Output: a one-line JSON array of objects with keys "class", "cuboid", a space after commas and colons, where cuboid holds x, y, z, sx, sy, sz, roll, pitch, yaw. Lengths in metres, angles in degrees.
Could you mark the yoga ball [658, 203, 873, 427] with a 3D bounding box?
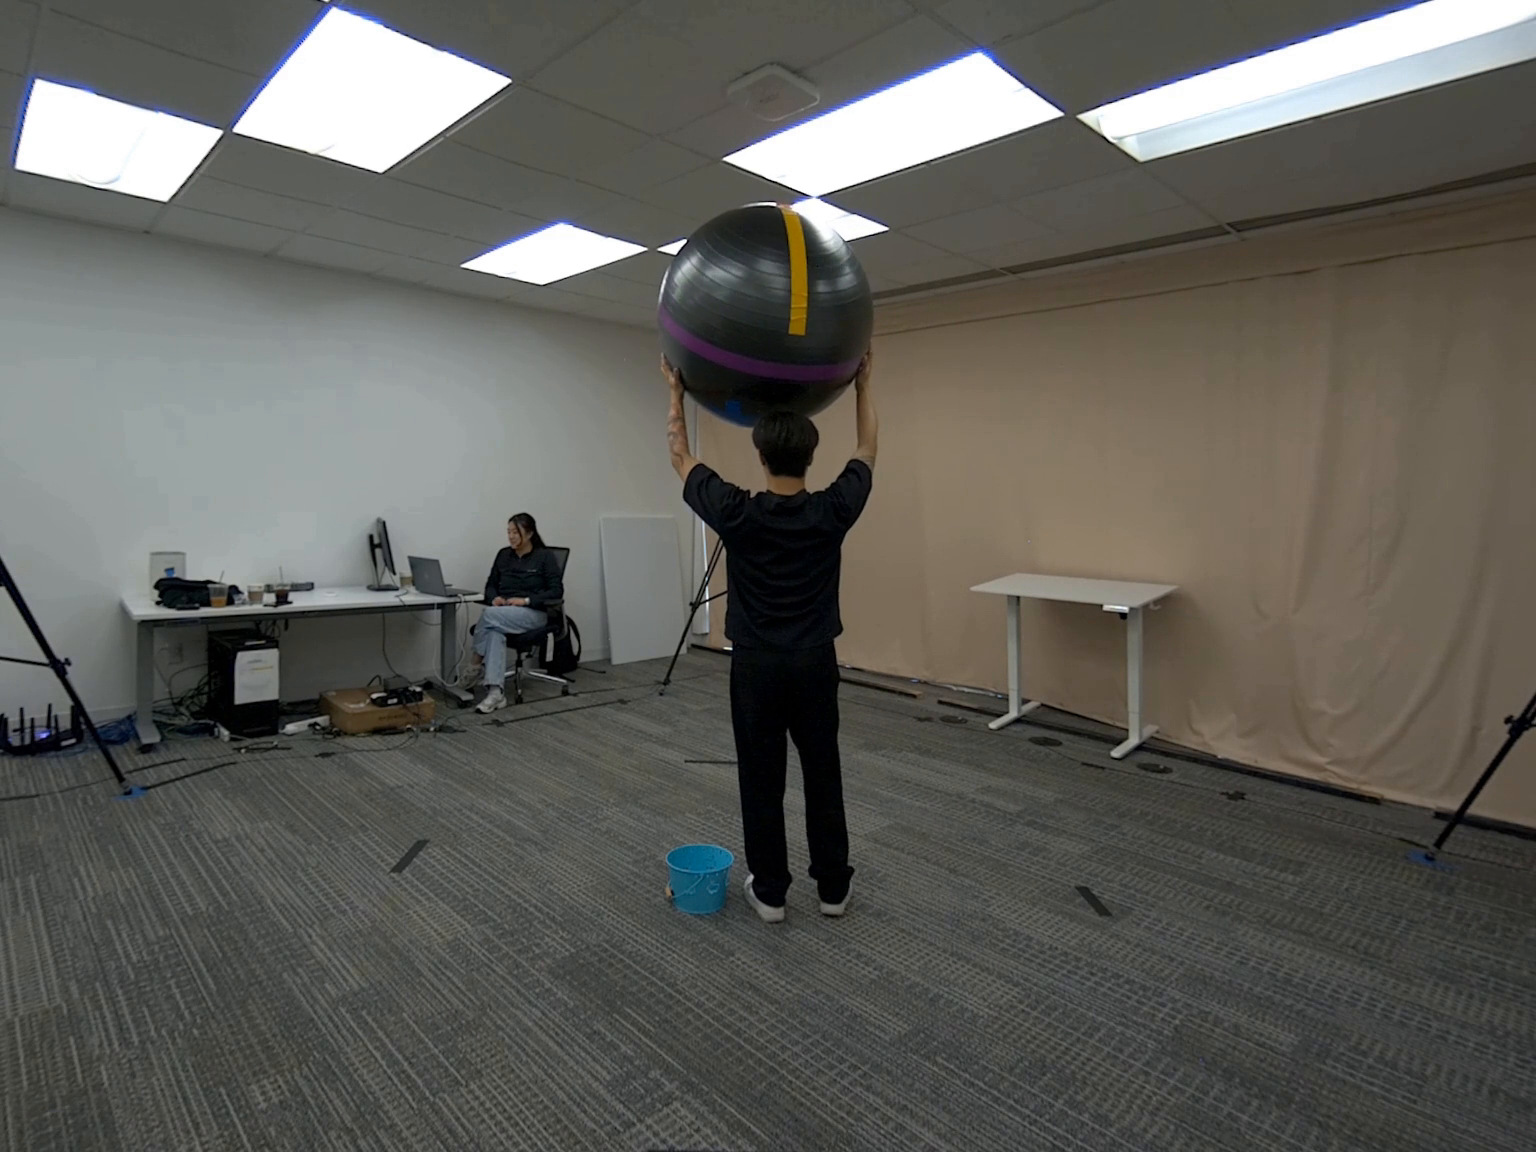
[{"class": "yoga ball", "cuboid": [-0.008, -0.903, 2.966, 0.757, 0.756, 0.761, 1, 4, -1]}]
